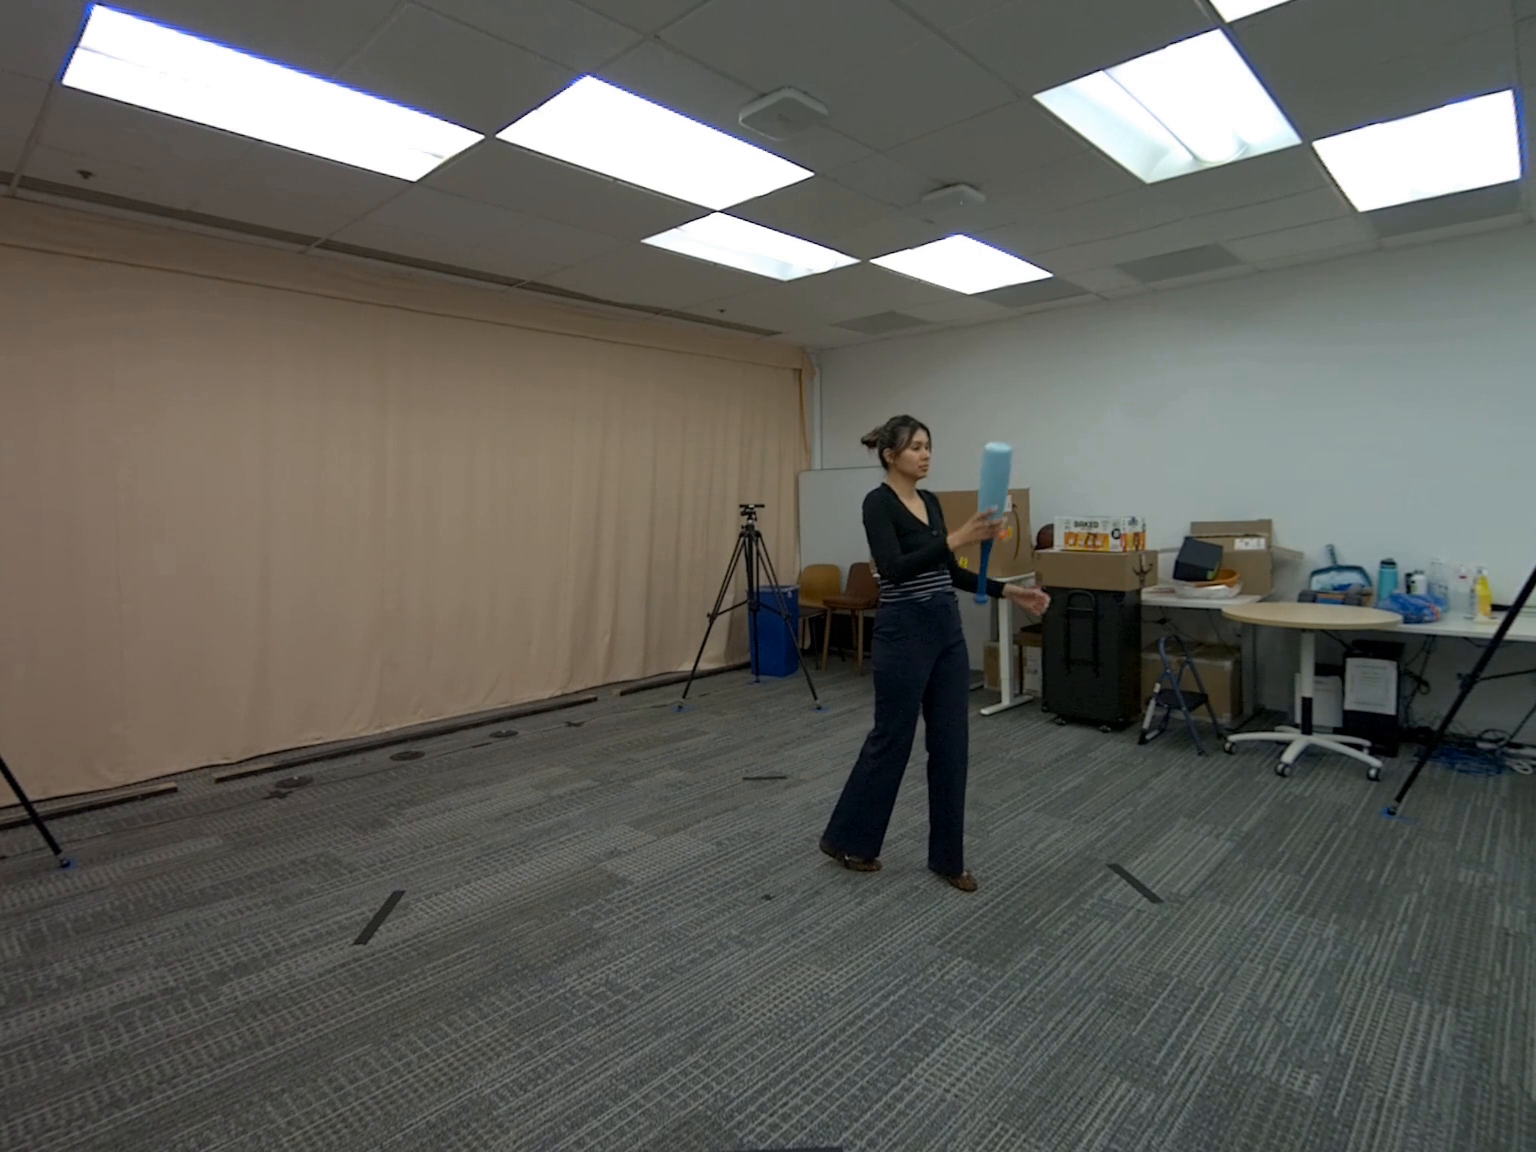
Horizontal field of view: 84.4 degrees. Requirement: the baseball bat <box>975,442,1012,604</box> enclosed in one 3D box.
[{"bbox_3d":[0.721,-0.147,2.734,0.089,0.536,0.090,1,21,-2],"label":"baseball bat"}]
